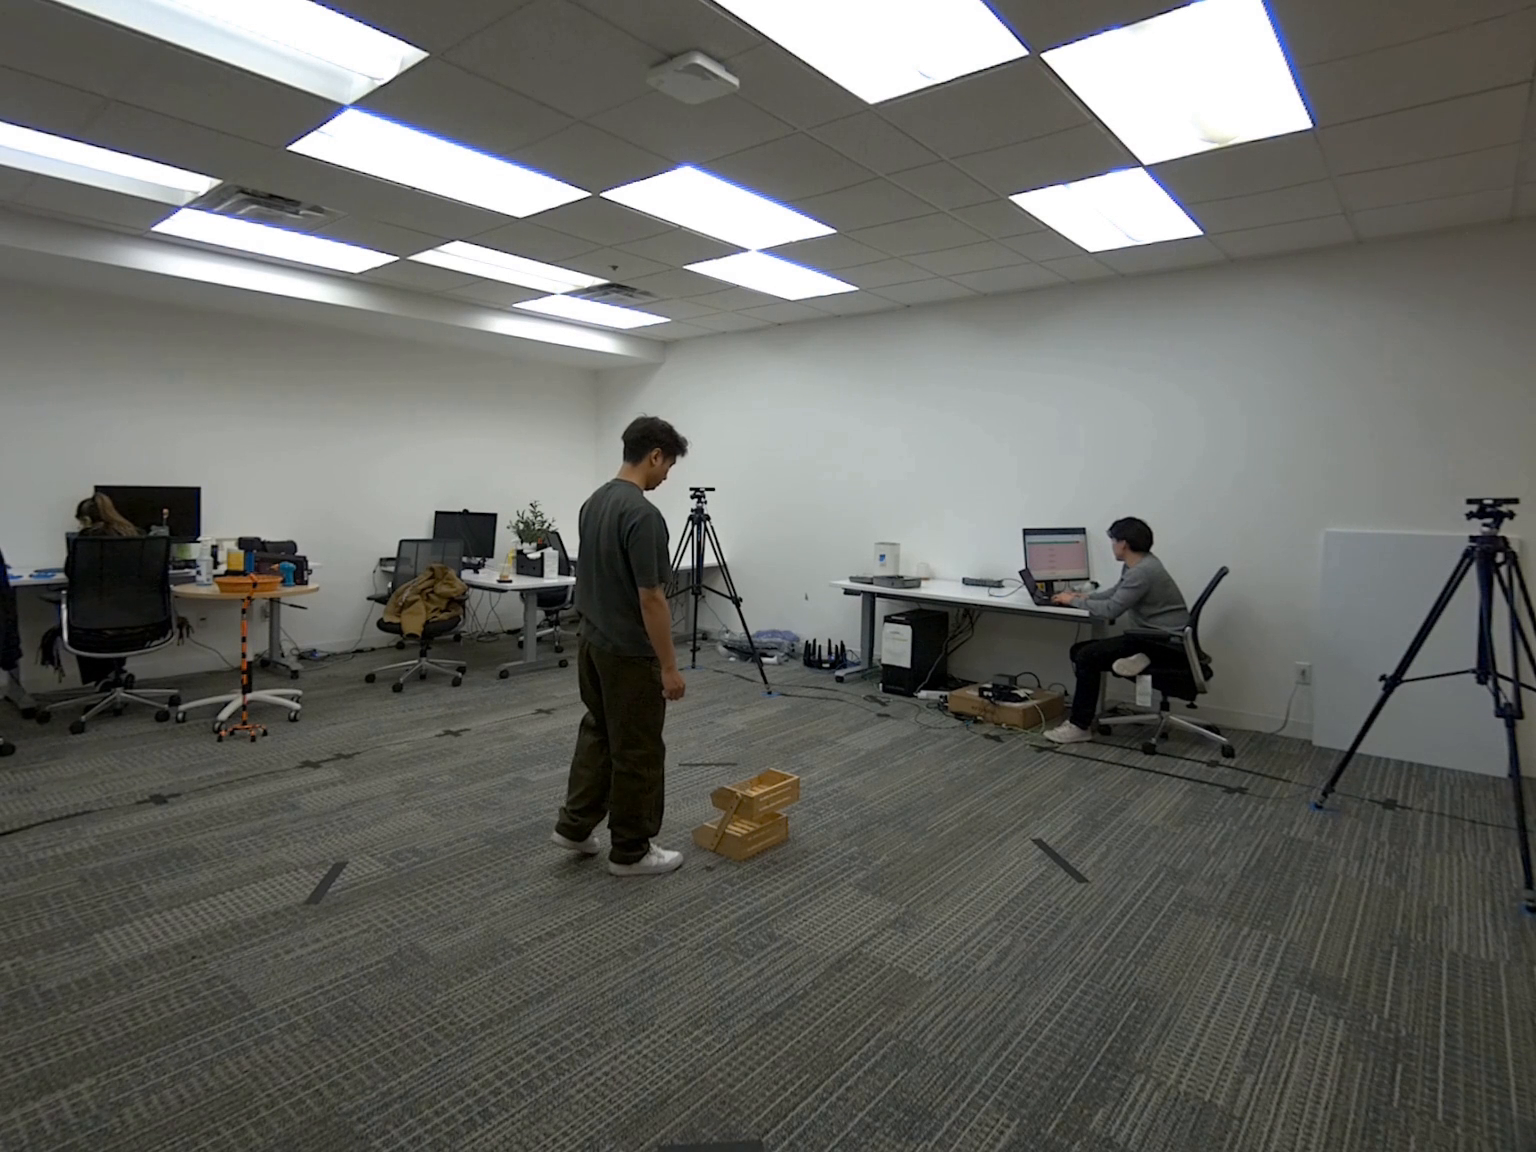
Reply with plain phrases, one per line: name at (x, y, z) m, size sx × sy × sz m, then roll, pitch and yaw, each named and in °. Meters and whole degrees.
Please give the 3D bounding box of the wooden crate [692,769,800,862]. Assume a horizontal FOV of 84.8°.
wooden crate at (-0.100, 0.913, 3.346) m, size 0.312 × 0.272 × 0.315 m, roll 5°, pitch 6°, yaw 39°
